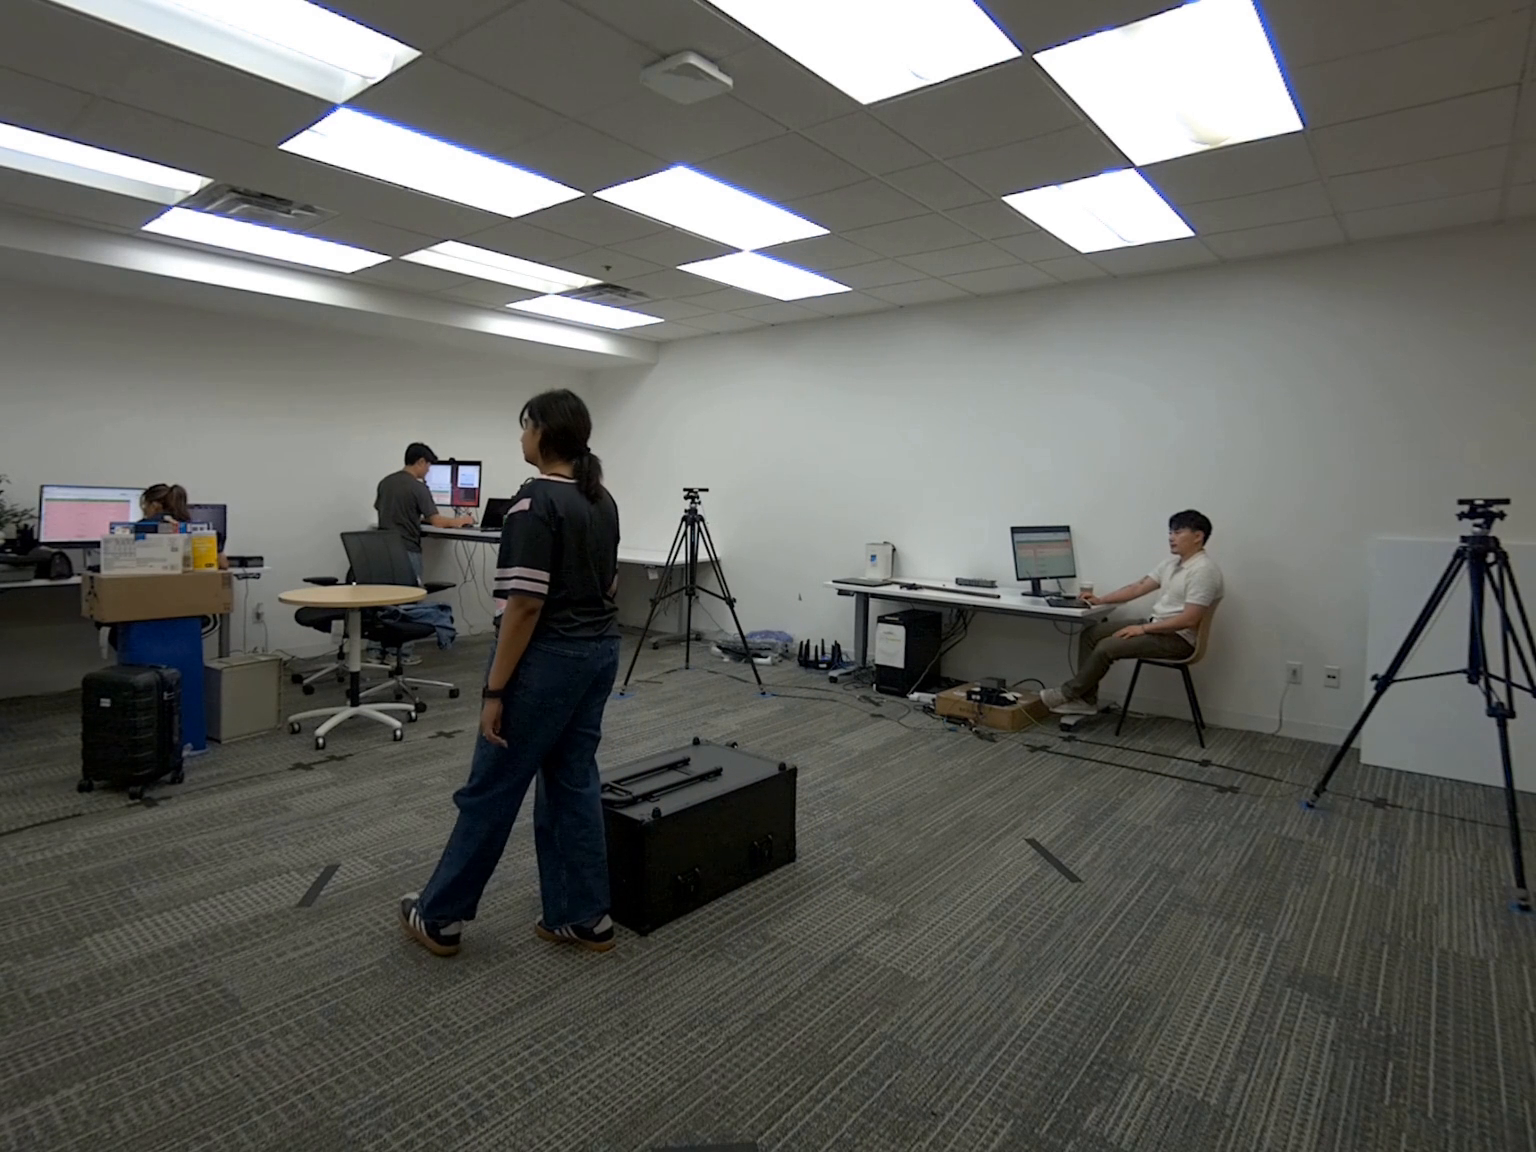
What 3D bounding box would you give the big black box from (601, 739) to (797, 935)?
[{"bbox_3d":[-0.314,0.884,3.097,0.541,0.384,0.843,4,6,40],"label":"big black box"}]
